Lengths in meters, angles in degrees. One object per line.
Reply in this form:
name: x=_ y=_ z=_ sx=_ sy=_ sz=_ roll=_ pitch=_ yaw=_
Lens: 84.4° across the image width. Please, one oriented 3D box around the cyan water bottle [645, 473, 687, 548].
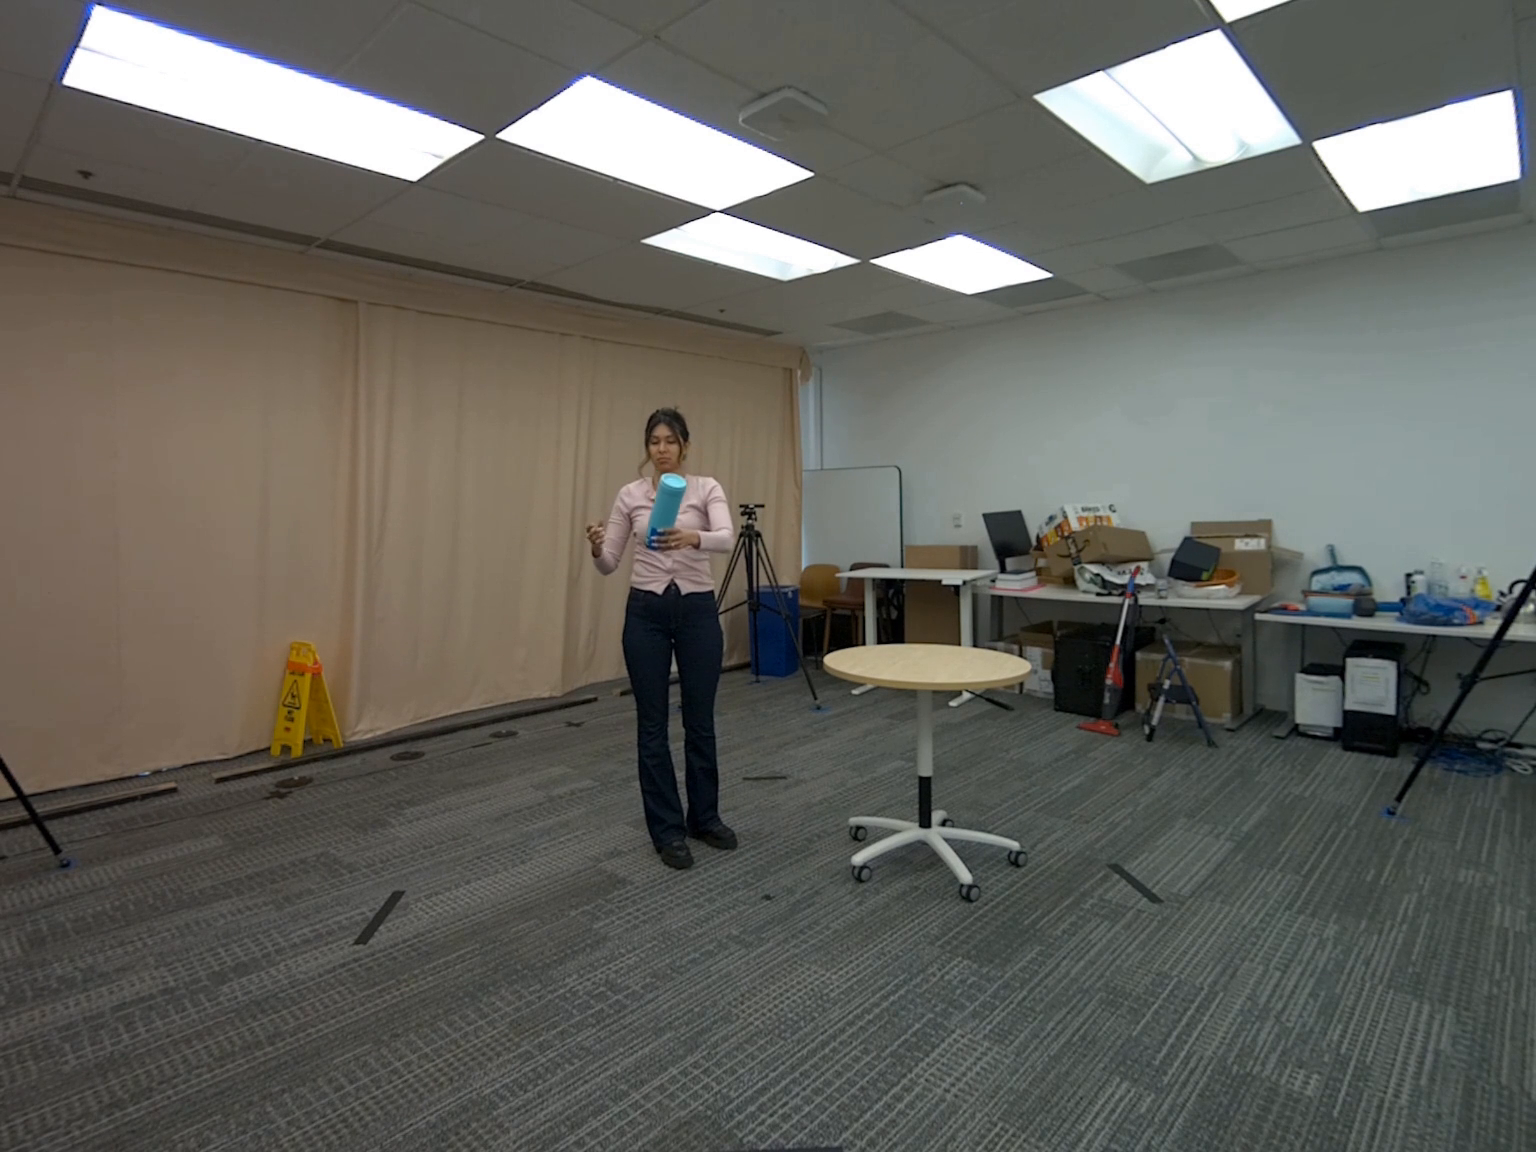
cyan water bottle: x=-0.363 y=-0.201 z=2.846 sx=0.091 sy=0.282 sz=0.094 roll=16 pitch=32 yaw=-12
